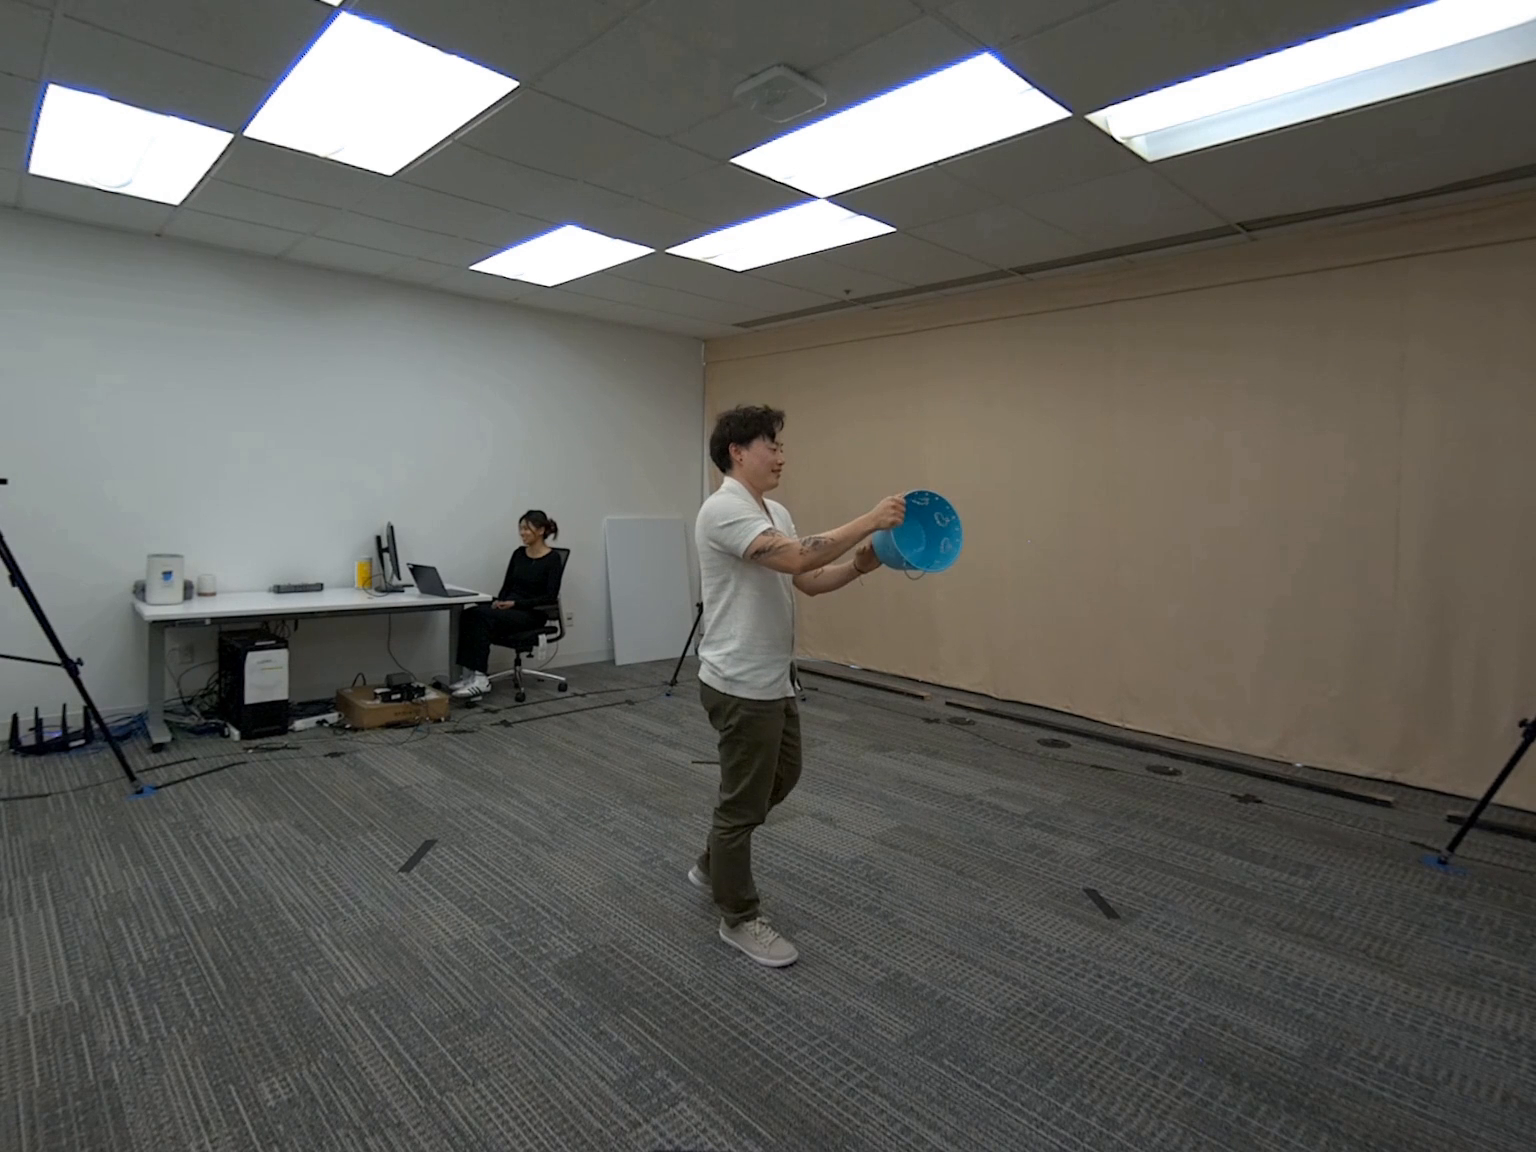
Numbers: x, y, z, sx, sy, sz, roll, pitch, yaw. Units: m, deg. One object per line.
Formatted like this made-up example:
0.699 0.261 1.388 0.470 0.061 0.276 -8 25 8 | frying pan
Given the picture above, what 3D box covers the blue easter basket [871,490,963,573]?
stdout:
0.411 -0.110 2.396 0.240 0.245 0.157 0 -10 -20 | blue easter basket
